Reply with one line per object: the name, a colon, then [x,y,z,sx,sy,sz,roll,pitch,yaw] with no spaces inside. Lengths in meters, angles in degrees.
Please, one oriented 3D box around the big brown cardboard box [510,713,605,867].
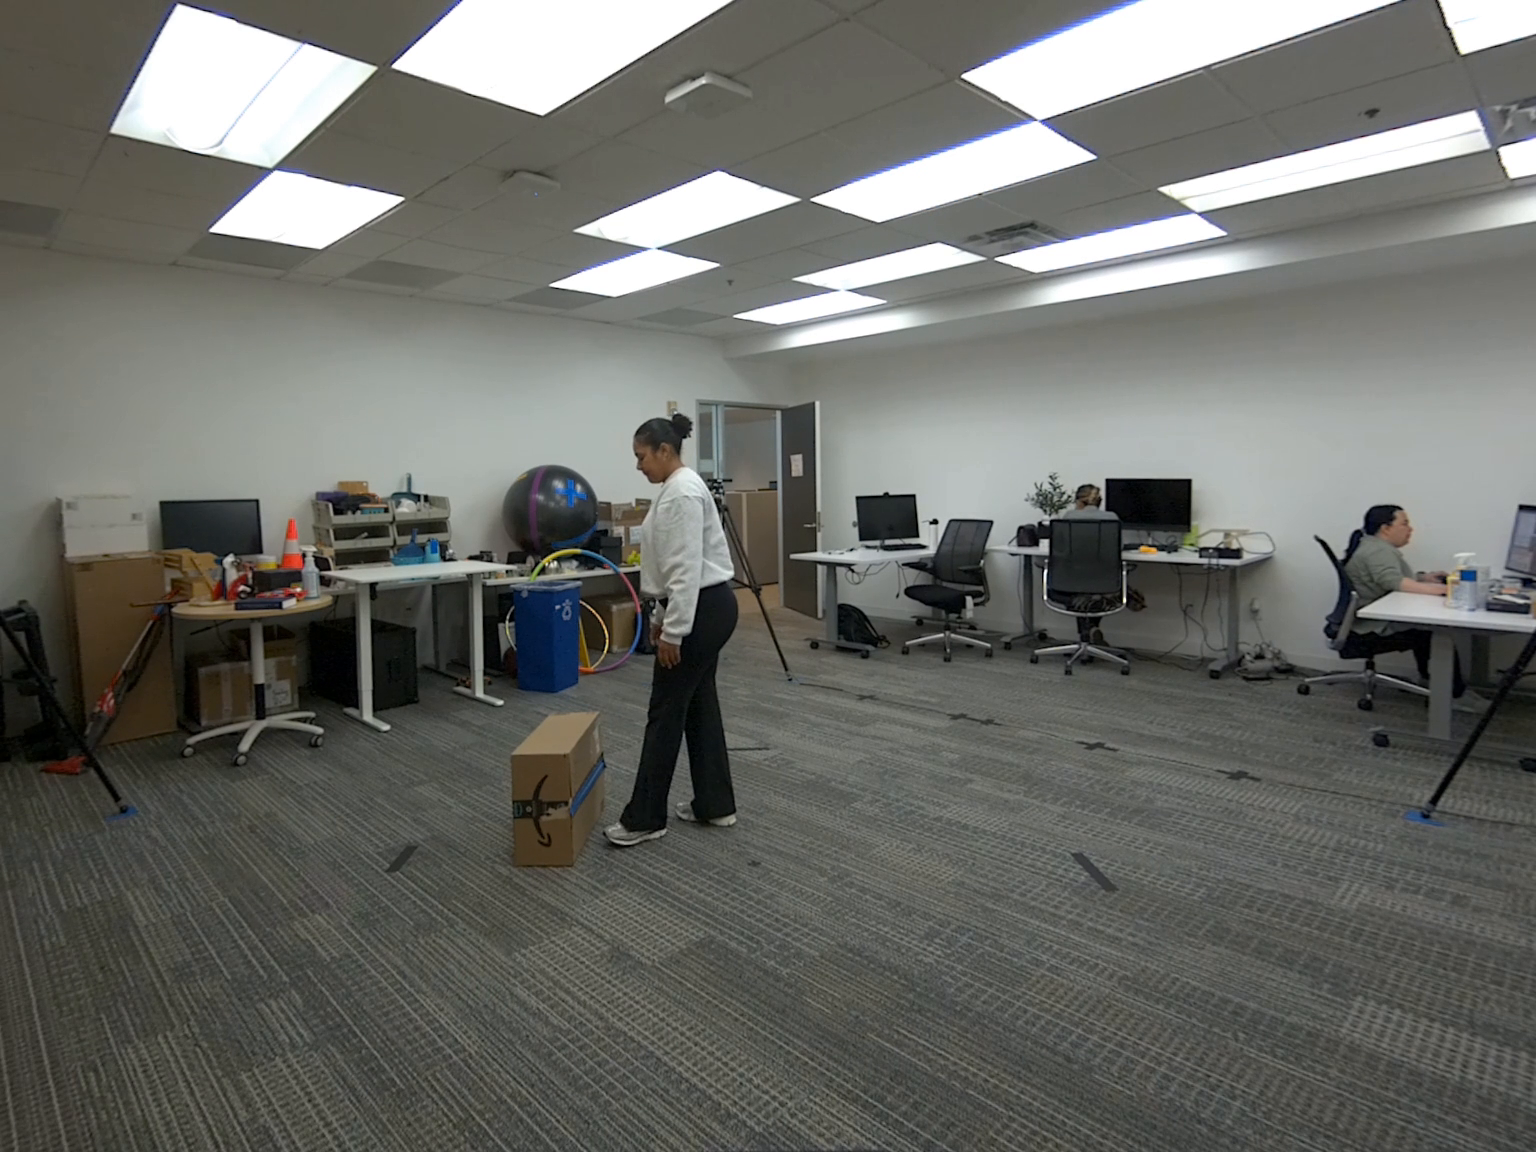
big brown cardboard box: [-0.820,0.822,3.389,0.234,0.416,0.590,-3,5,2]
